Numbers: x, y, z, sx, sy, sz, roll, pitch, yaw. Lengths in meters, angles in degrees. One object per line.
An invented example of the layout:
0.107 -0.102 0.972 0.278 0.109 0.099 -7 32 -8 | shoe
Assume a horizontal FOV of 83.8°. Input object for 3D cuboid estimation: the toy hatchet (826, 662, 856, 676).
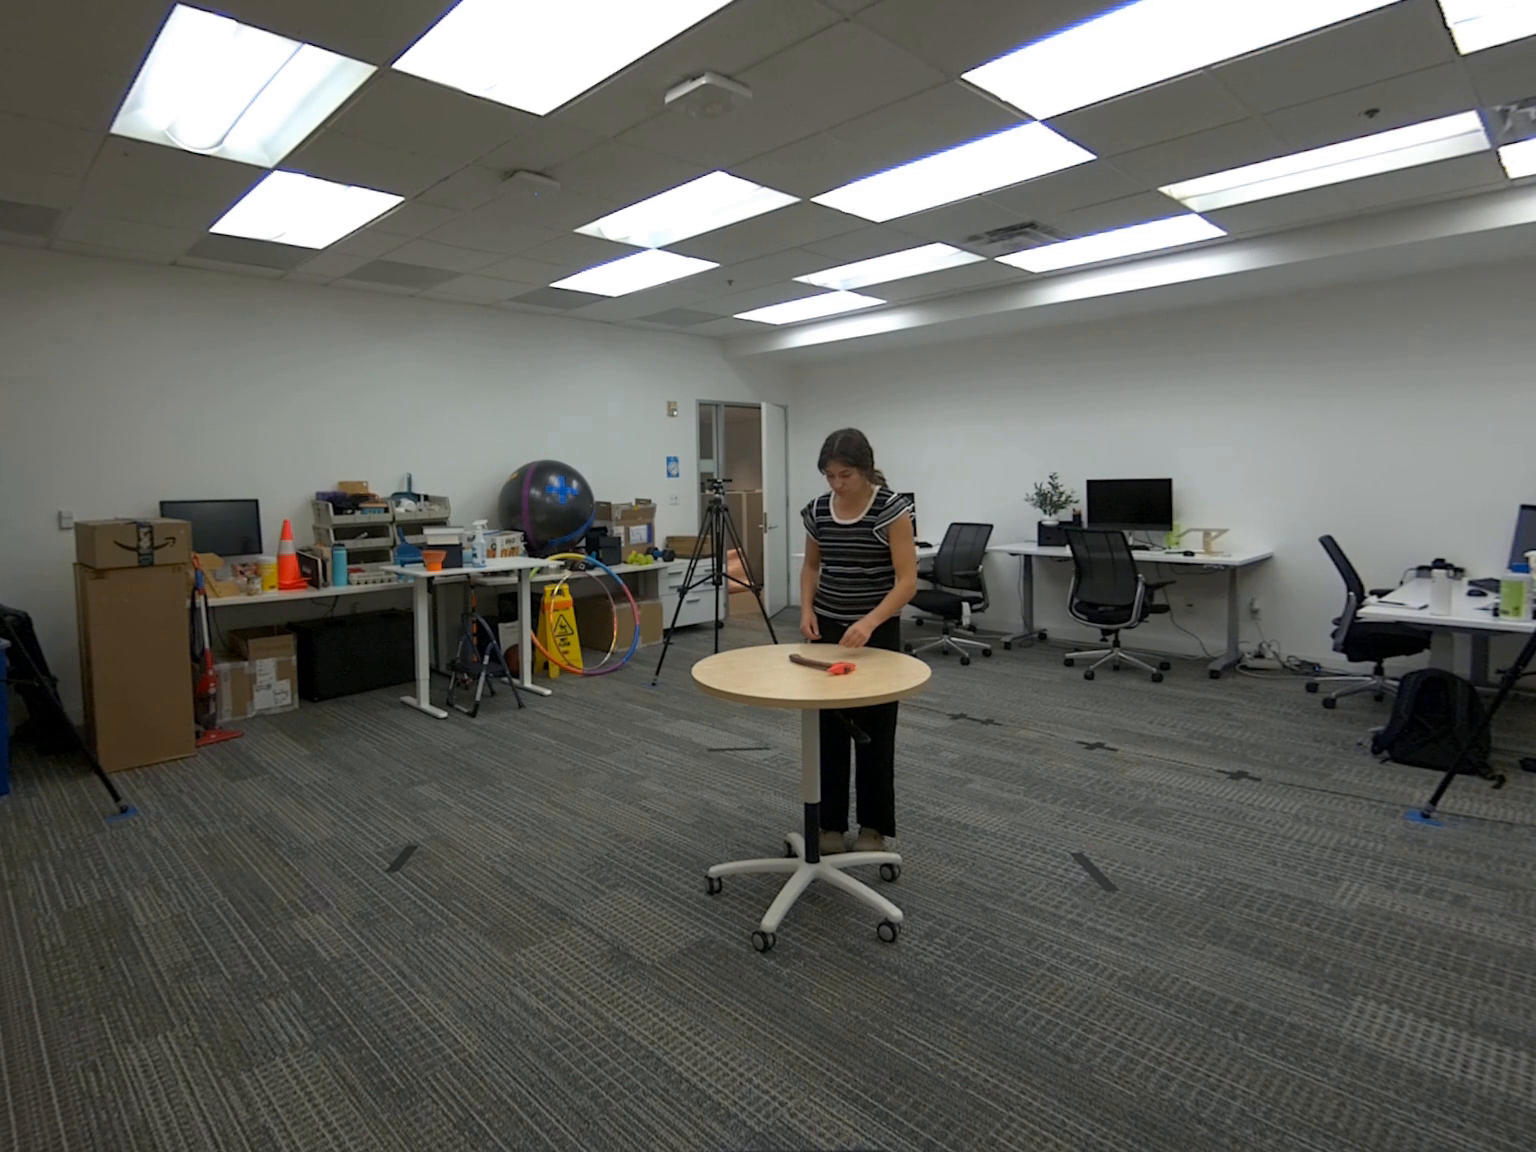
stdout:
0.195 0.283 2.773 0.128 0.029 0.277 -5 7 -25 | toy hatchet
